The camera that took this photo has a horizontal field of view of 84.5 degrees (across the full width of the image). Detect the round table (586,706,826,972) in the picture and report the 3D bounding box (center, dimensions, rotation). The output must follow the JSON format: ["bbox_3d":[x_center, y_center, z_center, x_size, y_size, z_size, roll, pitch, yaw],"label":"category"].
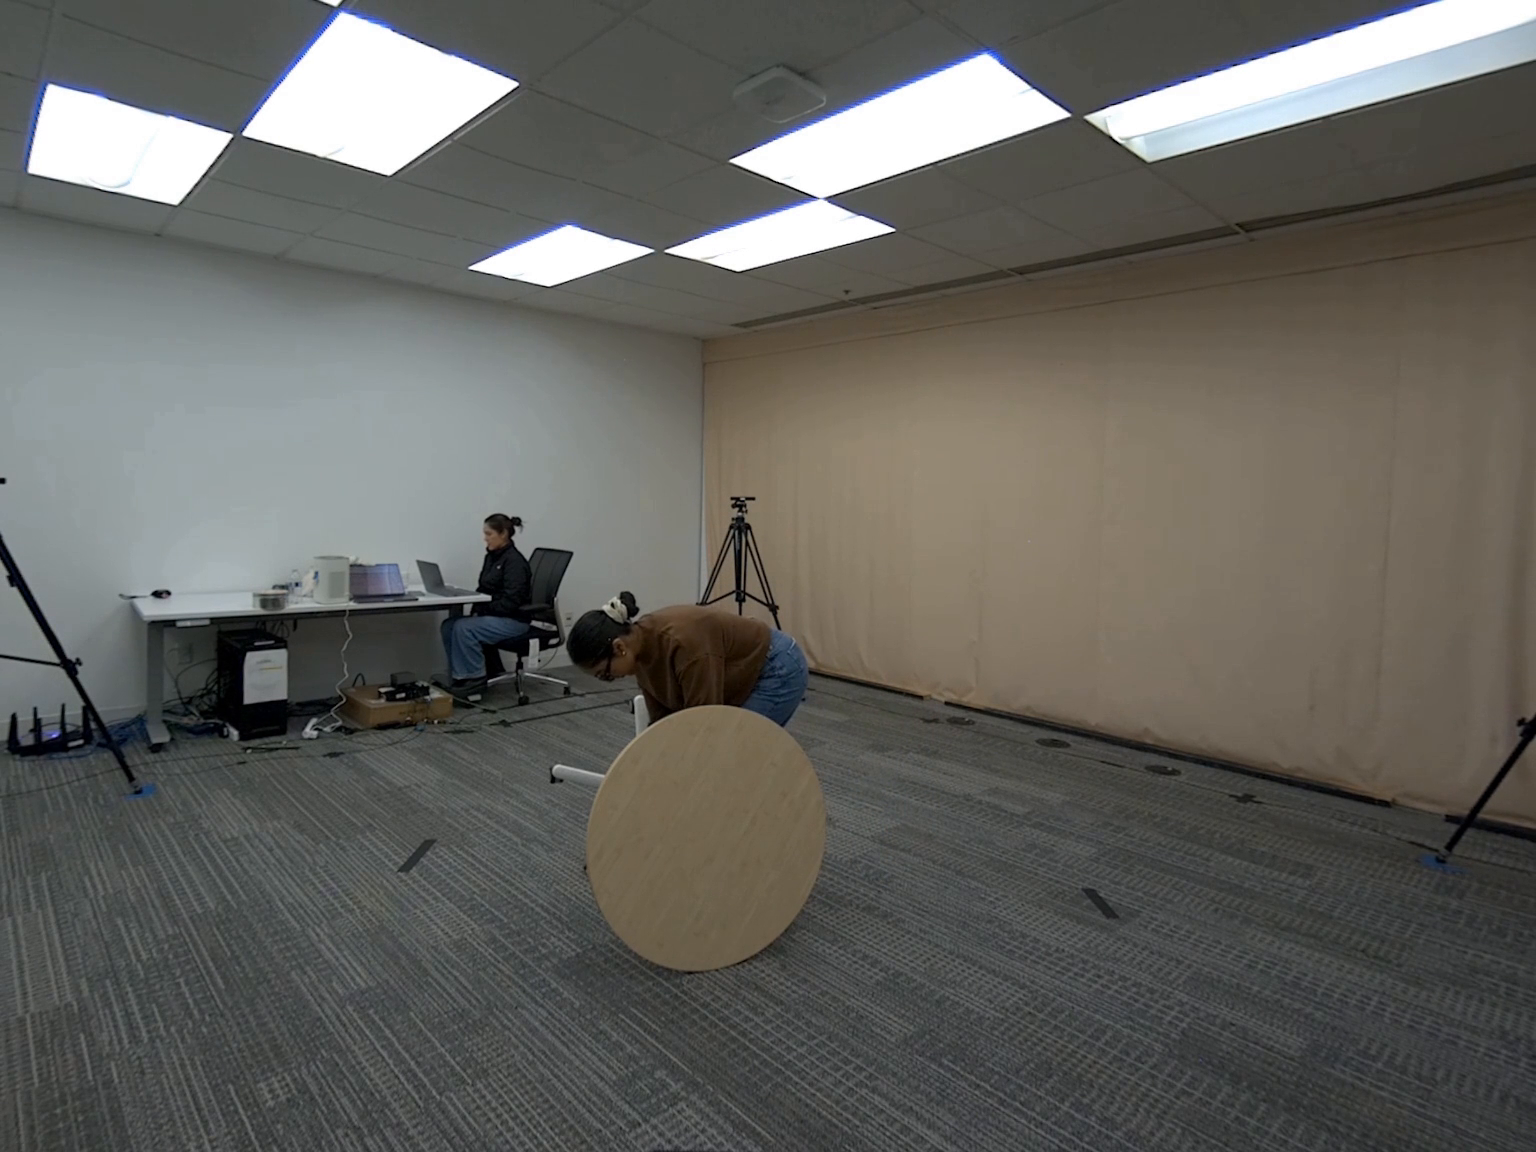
[{"bbox_3d":[-0.344,0.793,2.871,0.750,0.766,0.806,-1,-3,-25],"label":"round table"}]
